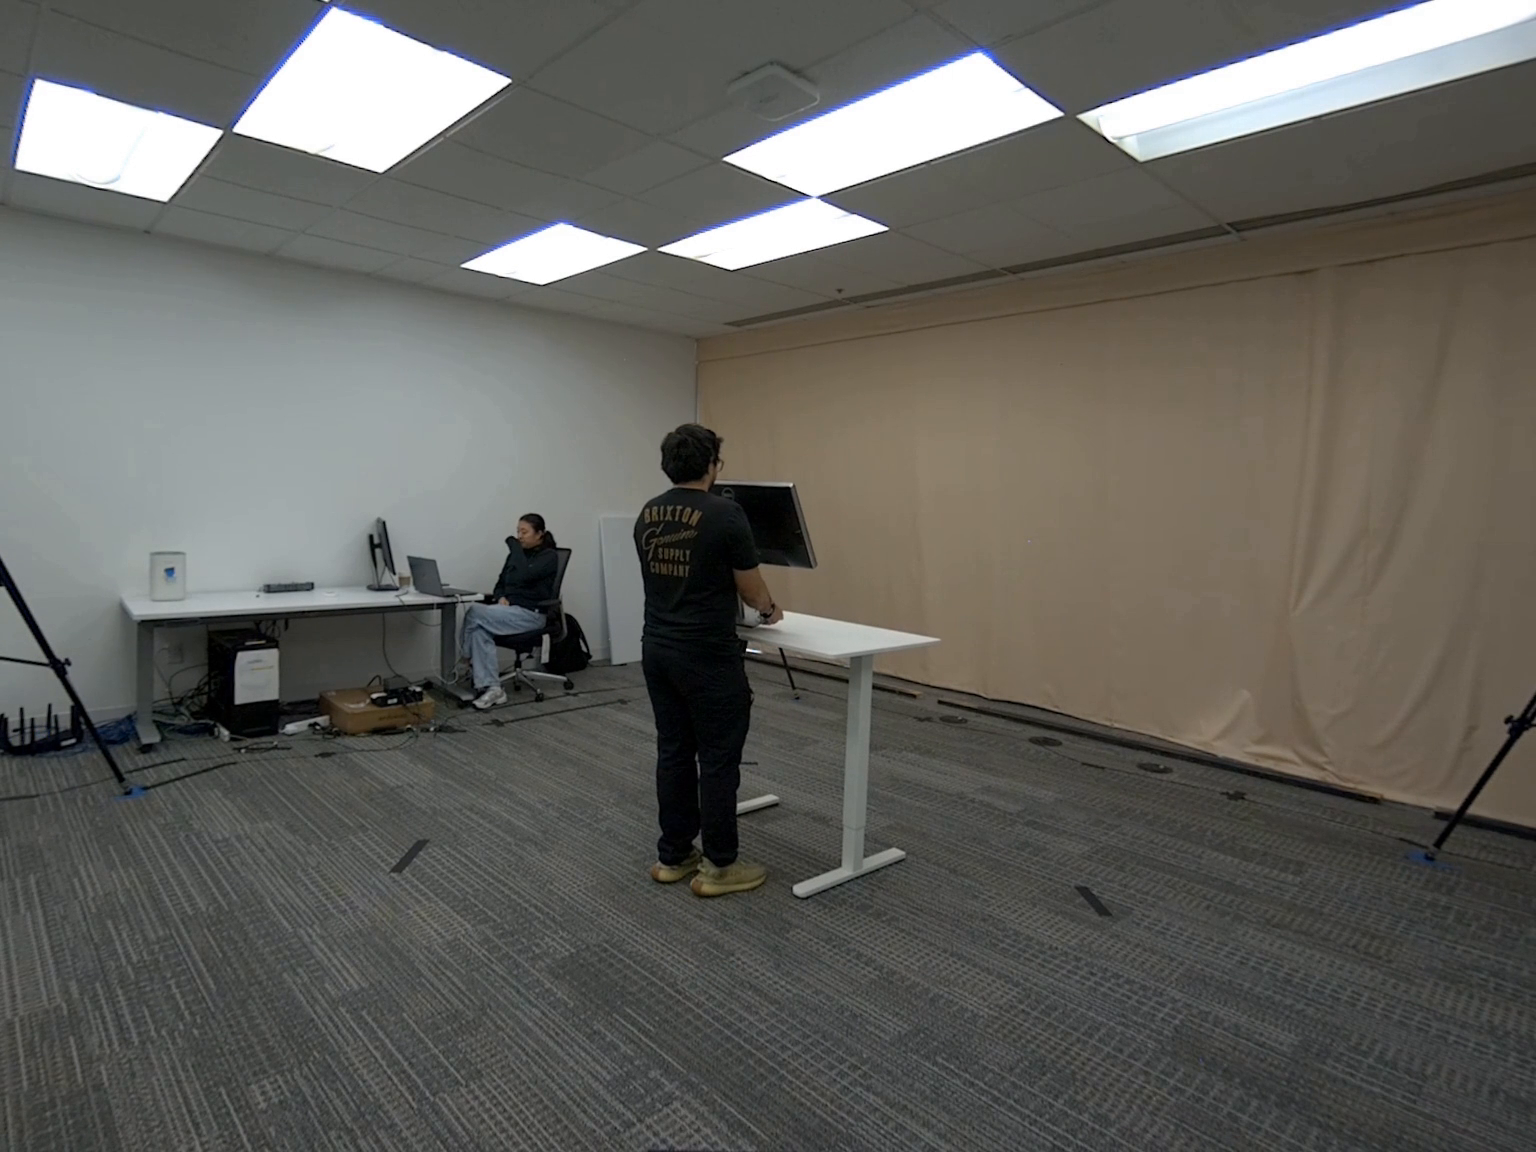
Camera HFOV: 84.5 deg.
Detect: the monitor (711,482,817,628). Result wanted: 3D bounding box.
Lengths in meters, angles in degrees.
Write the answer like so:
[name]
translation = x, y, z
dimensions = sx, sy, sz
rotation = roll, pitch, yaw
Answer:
[monitor]
translation = -0.119, -0.091, 3.216
dimensions = 0.579, 0.543, 0.209
rotation = 6, 31, 36
